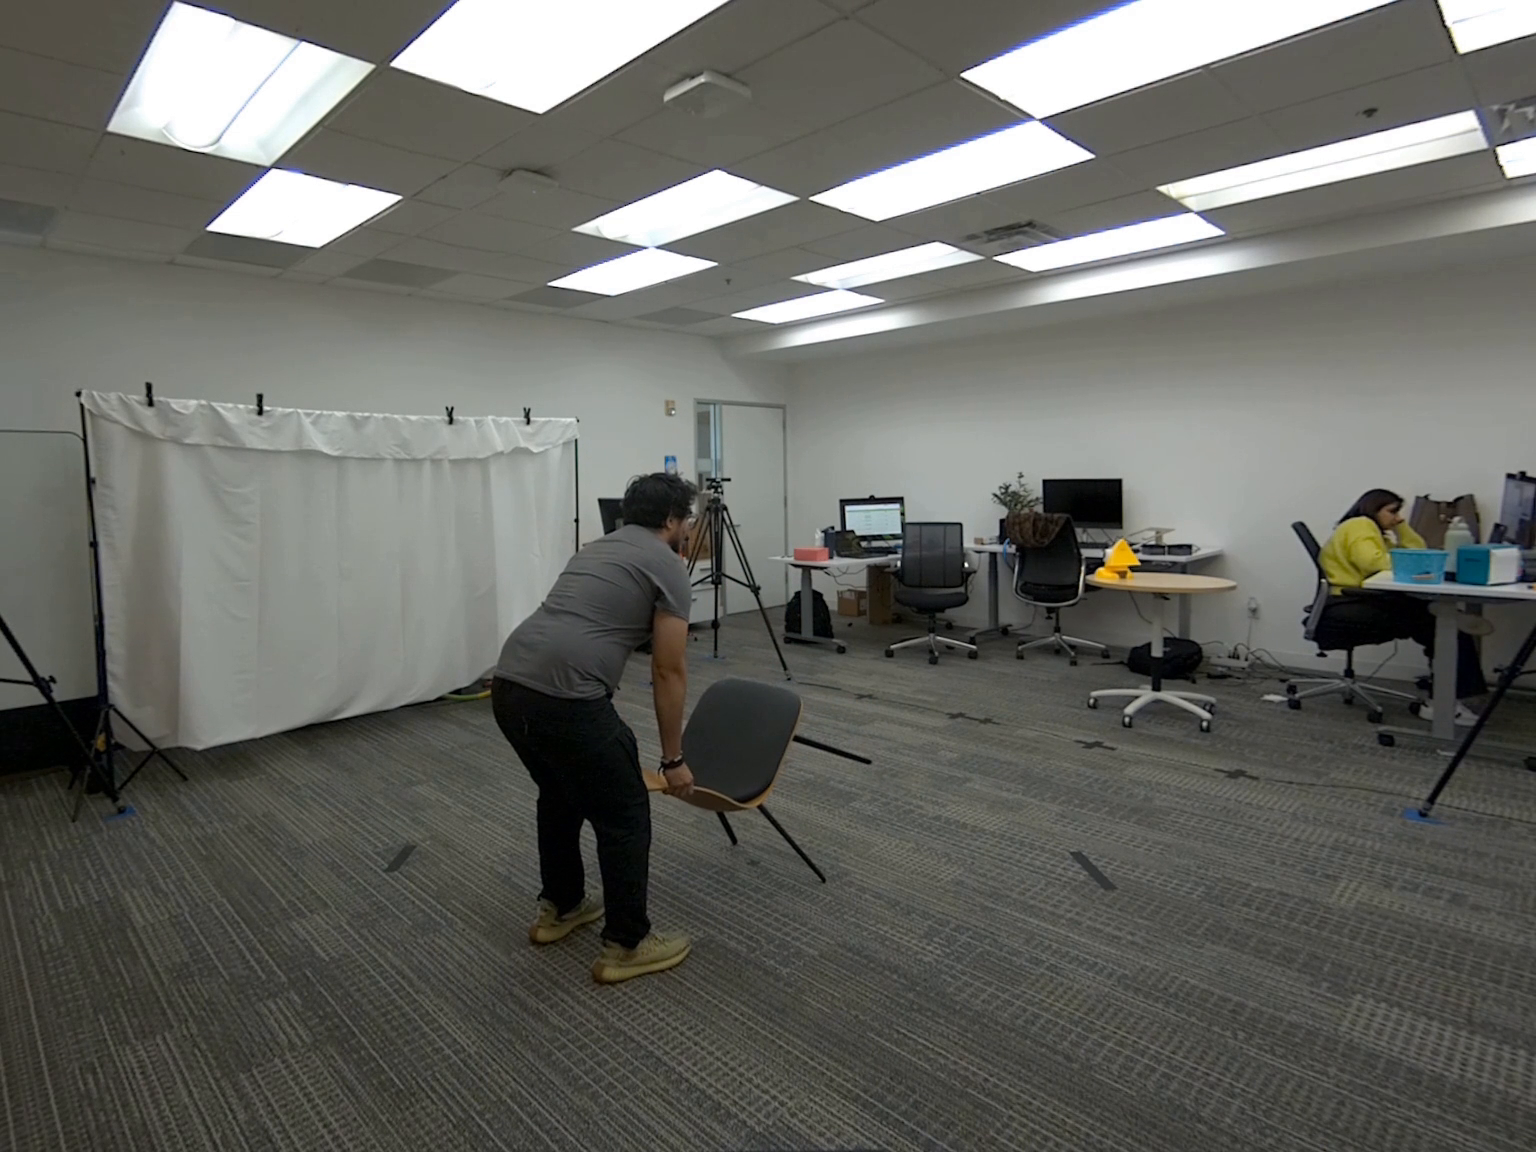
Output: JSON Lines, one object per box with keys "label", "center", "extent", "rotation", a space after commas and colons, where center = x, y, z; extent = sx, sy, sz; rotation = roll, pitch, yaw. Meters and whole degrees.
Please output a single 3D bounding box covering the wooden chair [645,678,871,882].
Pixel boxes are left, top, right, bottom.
{"label": "wooden chair", "center": [-0.102, 0.615, 2.941], "extent": [0.493, 0.527, 0.844], "rotation": [4, -26, 44]}
